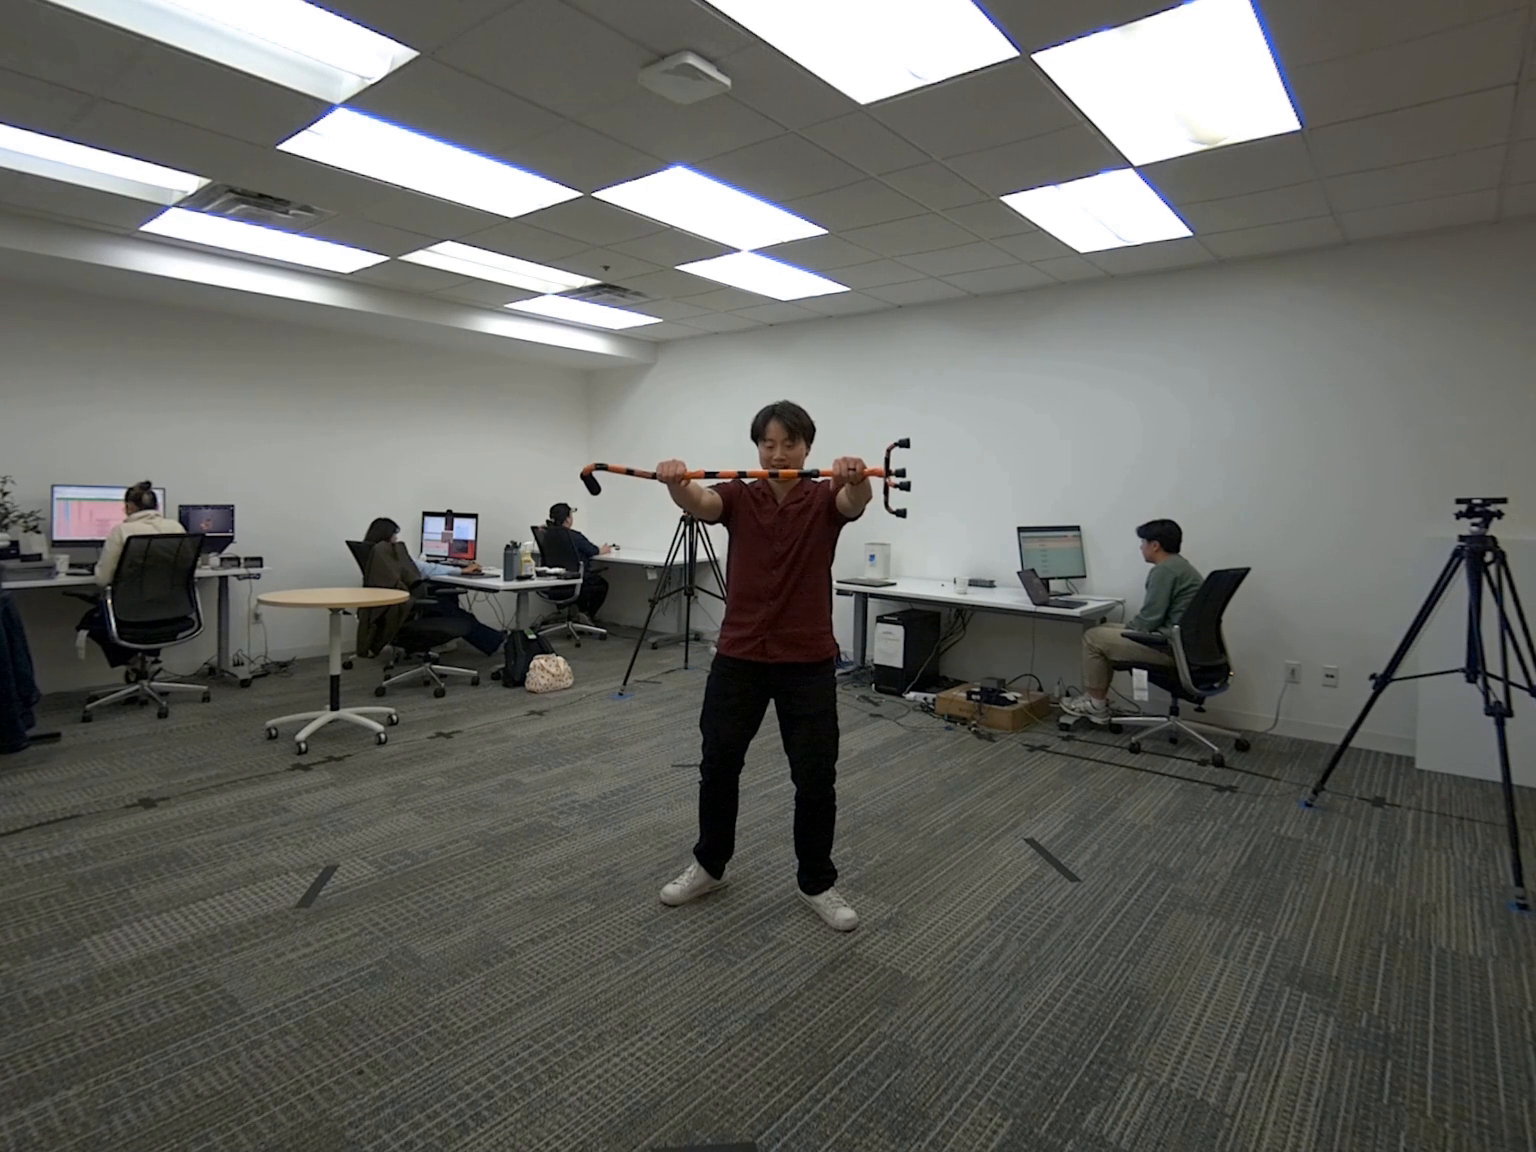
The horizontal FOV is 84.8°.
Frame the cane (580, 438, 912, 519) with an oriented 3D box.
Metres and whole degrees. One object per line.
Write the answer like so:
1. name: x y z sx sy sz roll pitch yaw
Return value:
1. cane: -0.094 -0.262 2.334 0.916 0.154 0.201 2 -19 8
